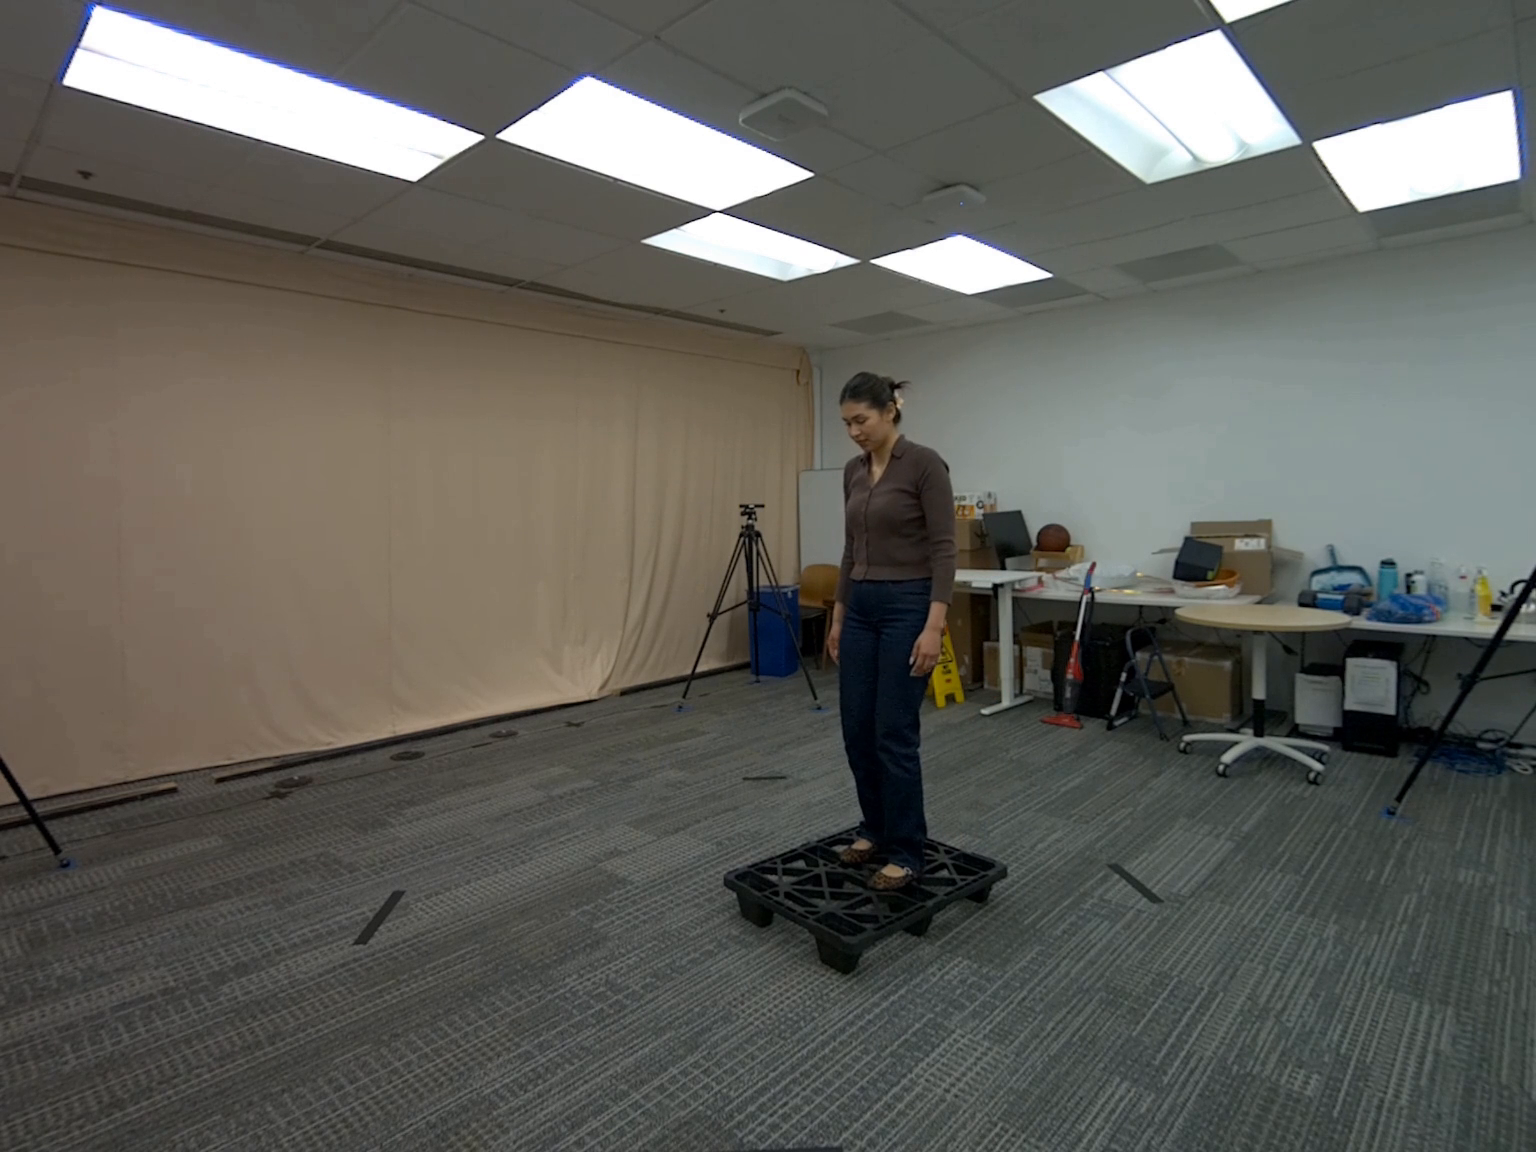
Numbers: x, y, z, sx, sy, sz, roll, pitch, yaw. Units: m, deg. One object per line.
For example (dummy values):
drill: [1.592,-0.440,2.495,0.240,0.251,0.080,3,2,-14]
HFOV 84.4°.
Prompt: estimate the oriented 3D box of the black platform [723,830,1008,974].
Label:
black platform: [0.339,1.074,2.886,0.781,0.143,0.625,-5,6,-40]
